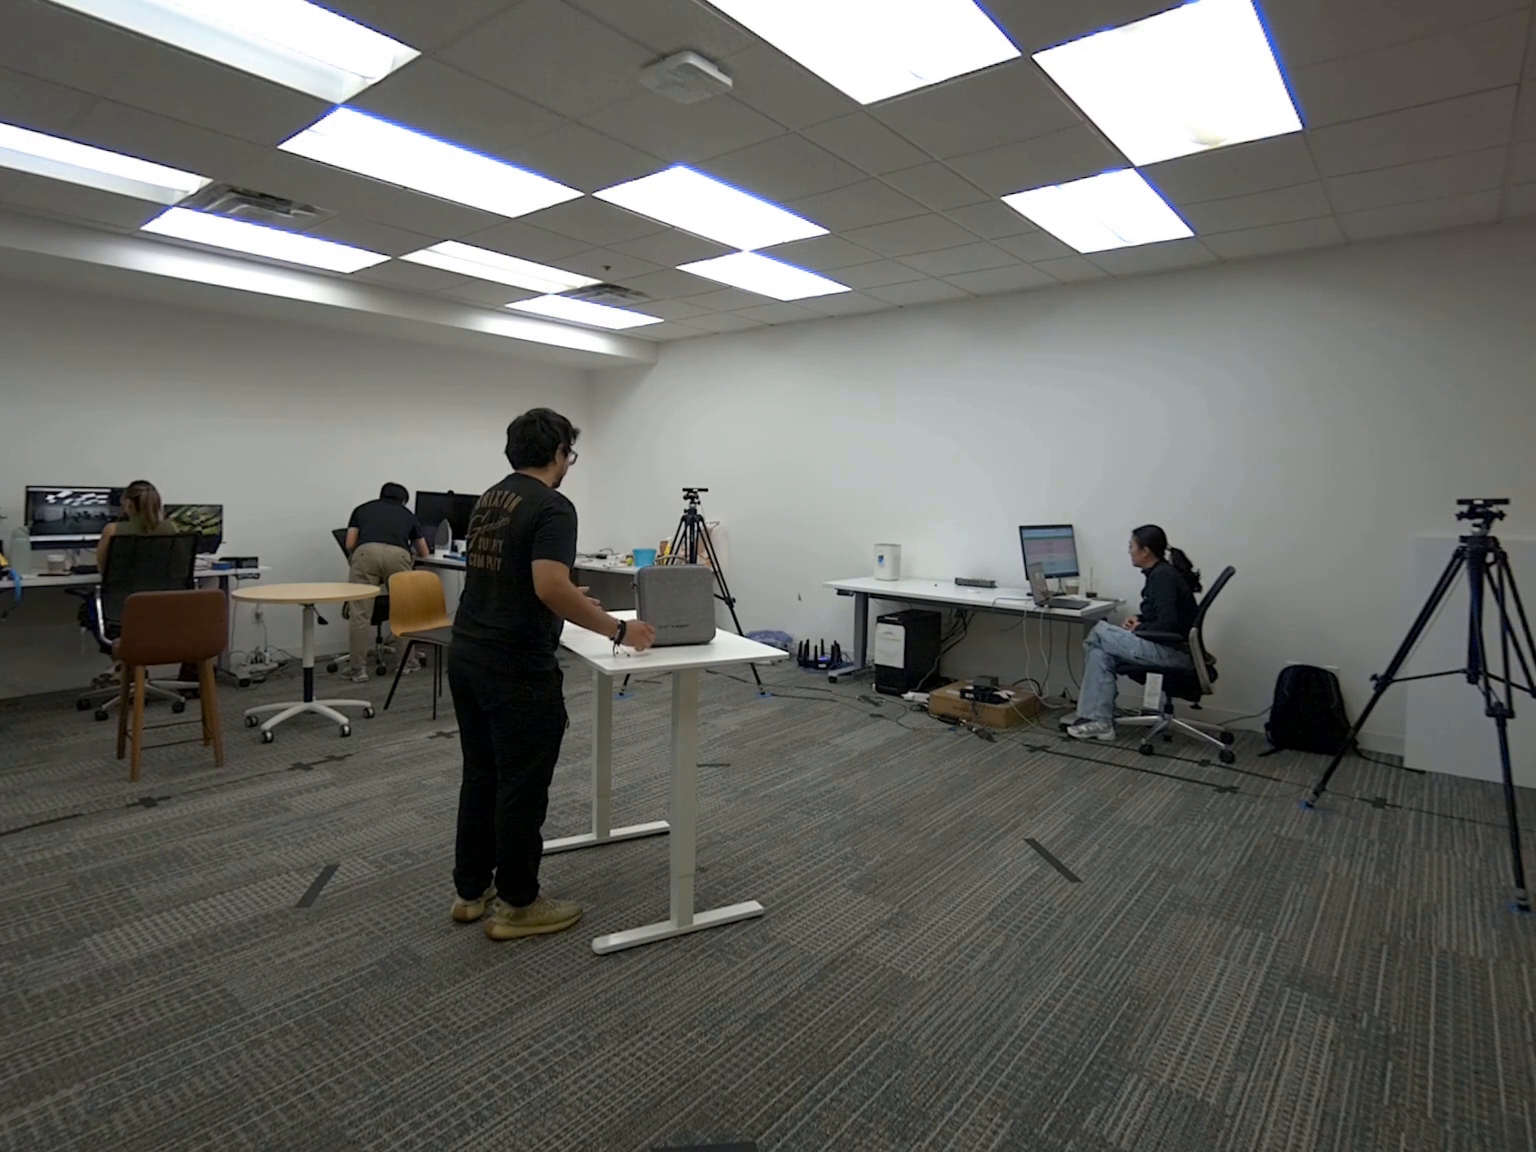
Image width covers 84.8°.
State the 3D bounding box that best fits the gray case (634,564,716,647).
[{"bbox_3d":[-0.313,0.089,2.773,0.253,0.261,0.105,-2,-3,-15],"label":"gray case"}]
